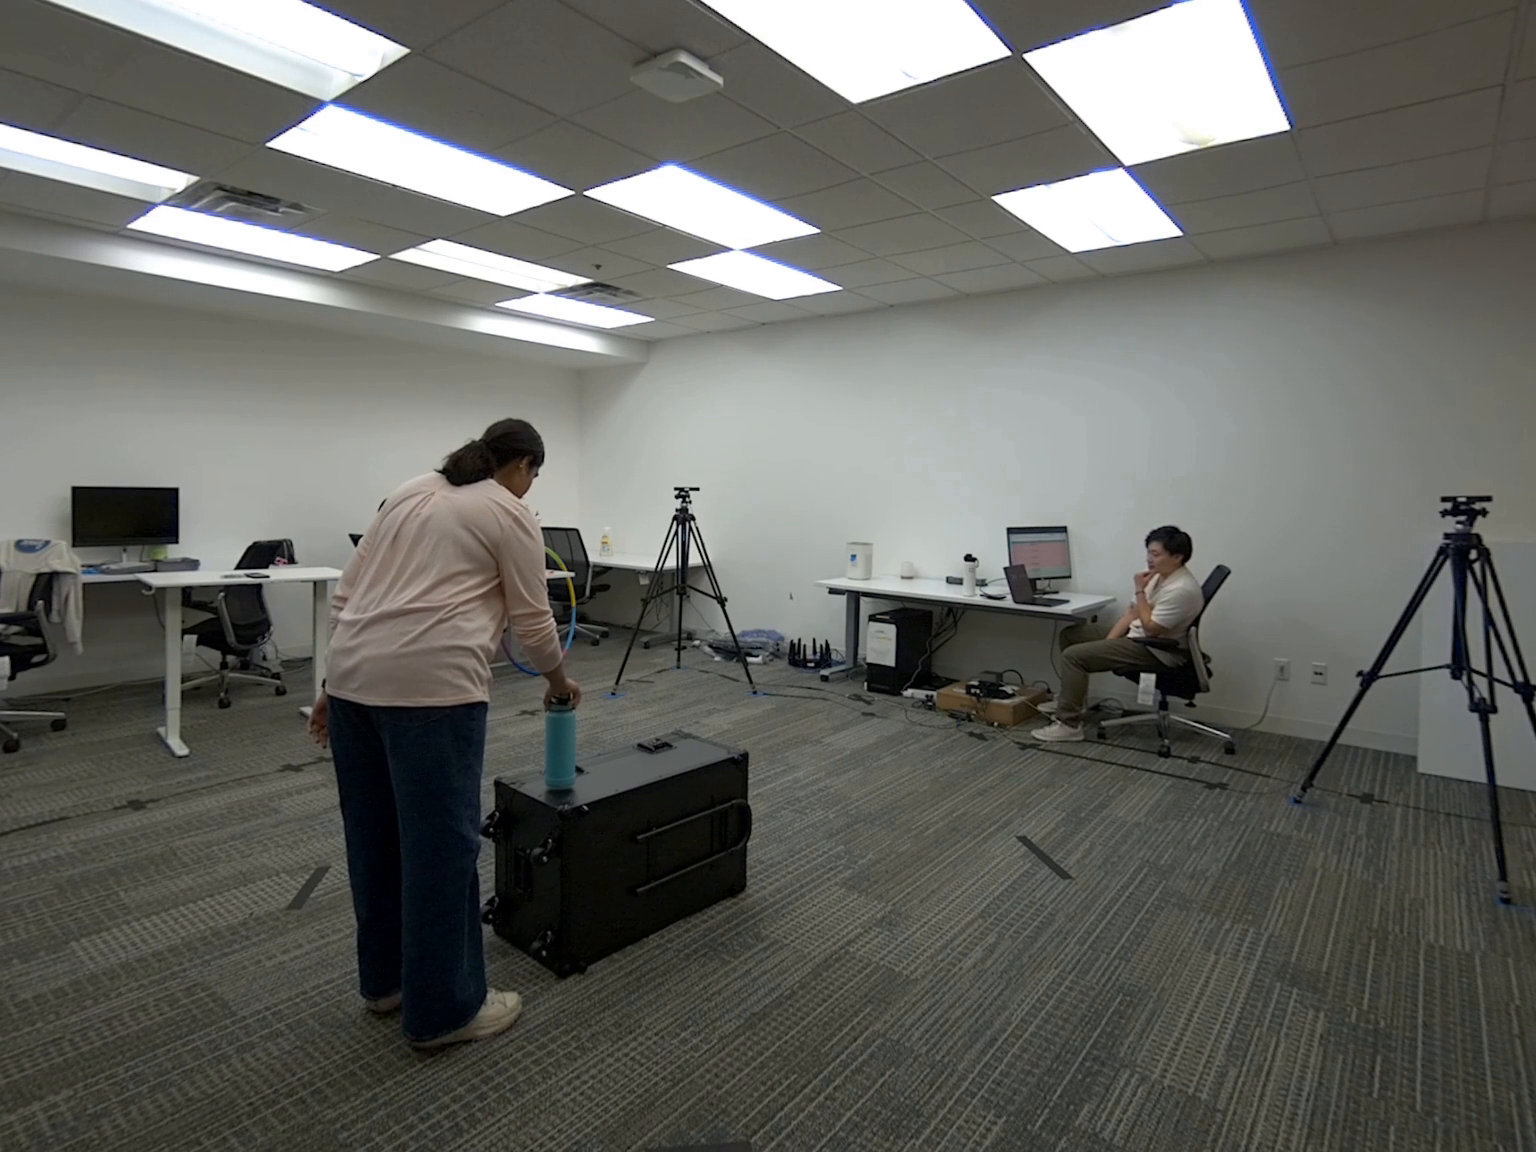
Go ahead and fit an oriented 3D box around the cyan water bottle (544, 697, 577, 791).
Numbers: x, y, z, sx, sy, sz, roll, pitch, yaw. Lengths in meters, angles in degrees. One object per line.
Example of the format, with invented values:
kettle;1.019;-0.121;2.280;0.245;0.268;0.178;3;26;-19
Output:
cyan water bottle;-0.634;0.485;2.531;0.092;0.282;0.093;0;4;-2
